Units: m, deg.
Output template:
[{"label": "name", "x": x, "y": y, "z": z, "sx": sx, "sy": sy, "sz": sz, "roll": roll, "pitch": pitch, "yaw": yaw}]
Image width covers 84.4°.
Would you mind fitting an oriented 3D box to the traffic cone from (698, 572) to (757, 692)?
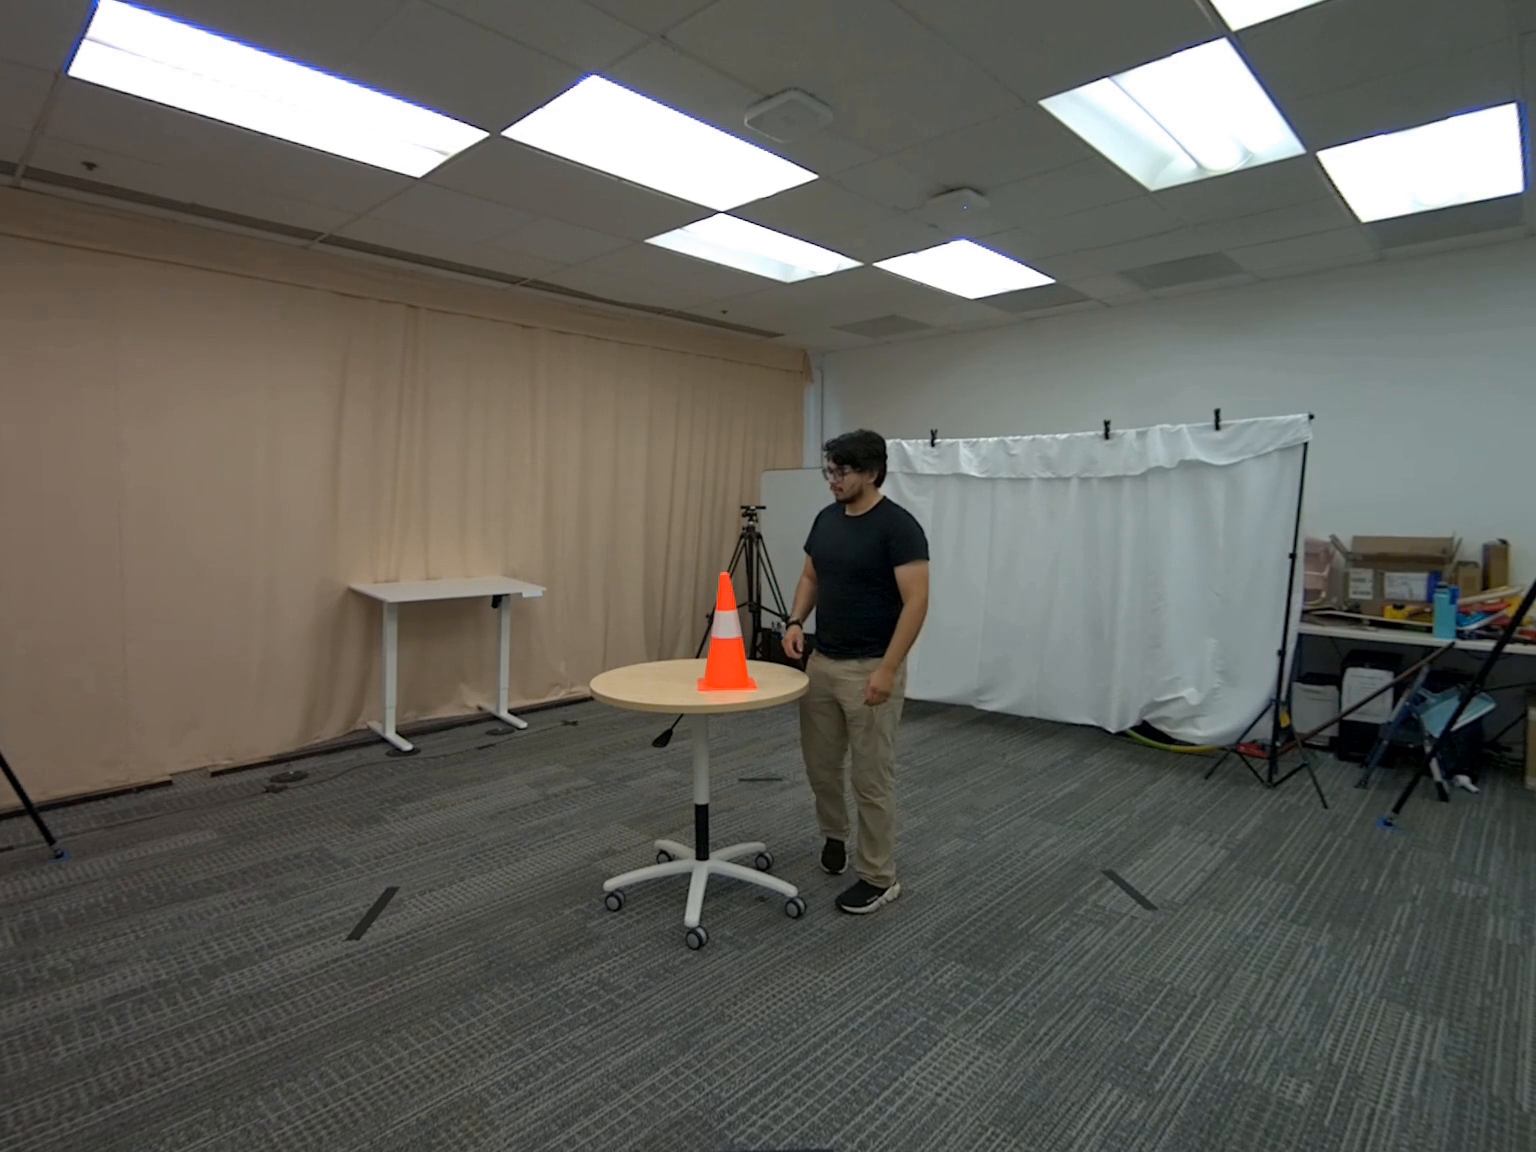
[{"label": "traffic cone", "x": -0.143, "y": 0.187, "z": 2.860, "sx": 0.204, "sy": 0.383, "sz": 0.205, "roll": -2, "pitch": 3, "yaw": -6}]
